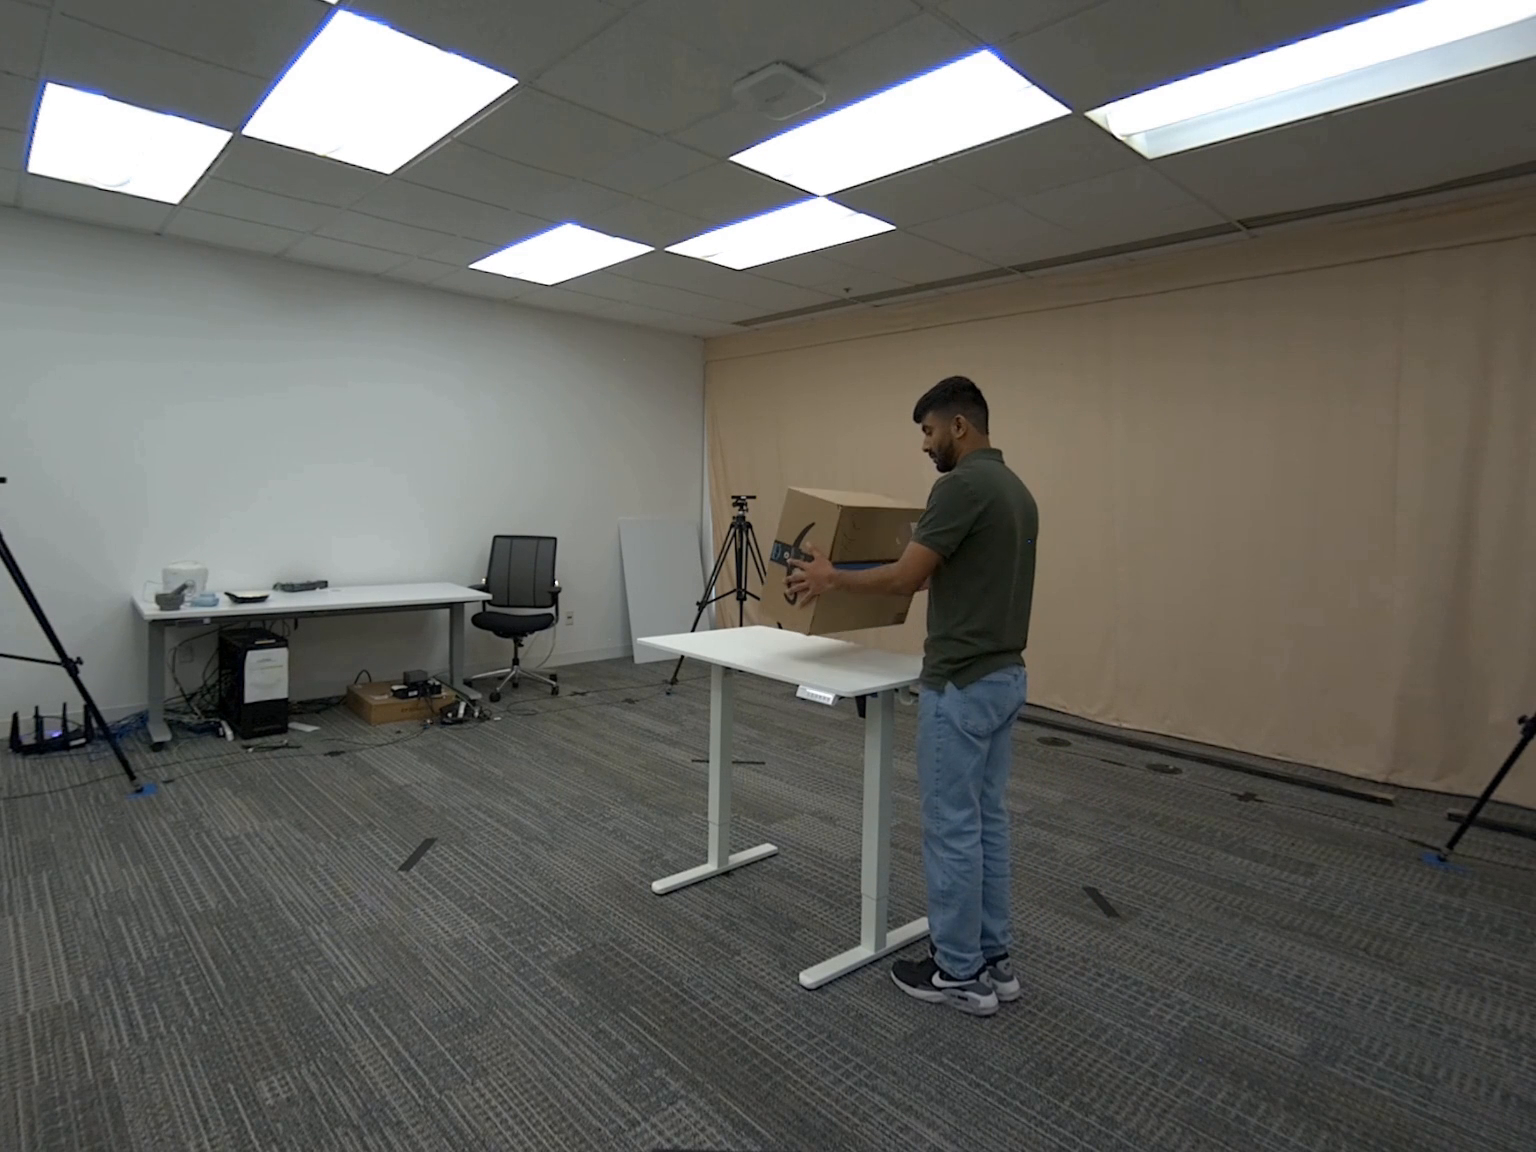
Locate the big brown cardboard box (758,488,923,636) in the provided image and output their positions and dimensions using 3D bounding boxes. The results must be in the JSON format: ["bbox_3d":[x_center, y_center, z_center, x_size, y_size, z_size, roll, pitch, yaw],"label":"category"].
[{"bbox_3d":[0.273,-0.044,2.775,0.240,0.415,0.575,22,15,39],"label":"big brown cardboard box"}]
